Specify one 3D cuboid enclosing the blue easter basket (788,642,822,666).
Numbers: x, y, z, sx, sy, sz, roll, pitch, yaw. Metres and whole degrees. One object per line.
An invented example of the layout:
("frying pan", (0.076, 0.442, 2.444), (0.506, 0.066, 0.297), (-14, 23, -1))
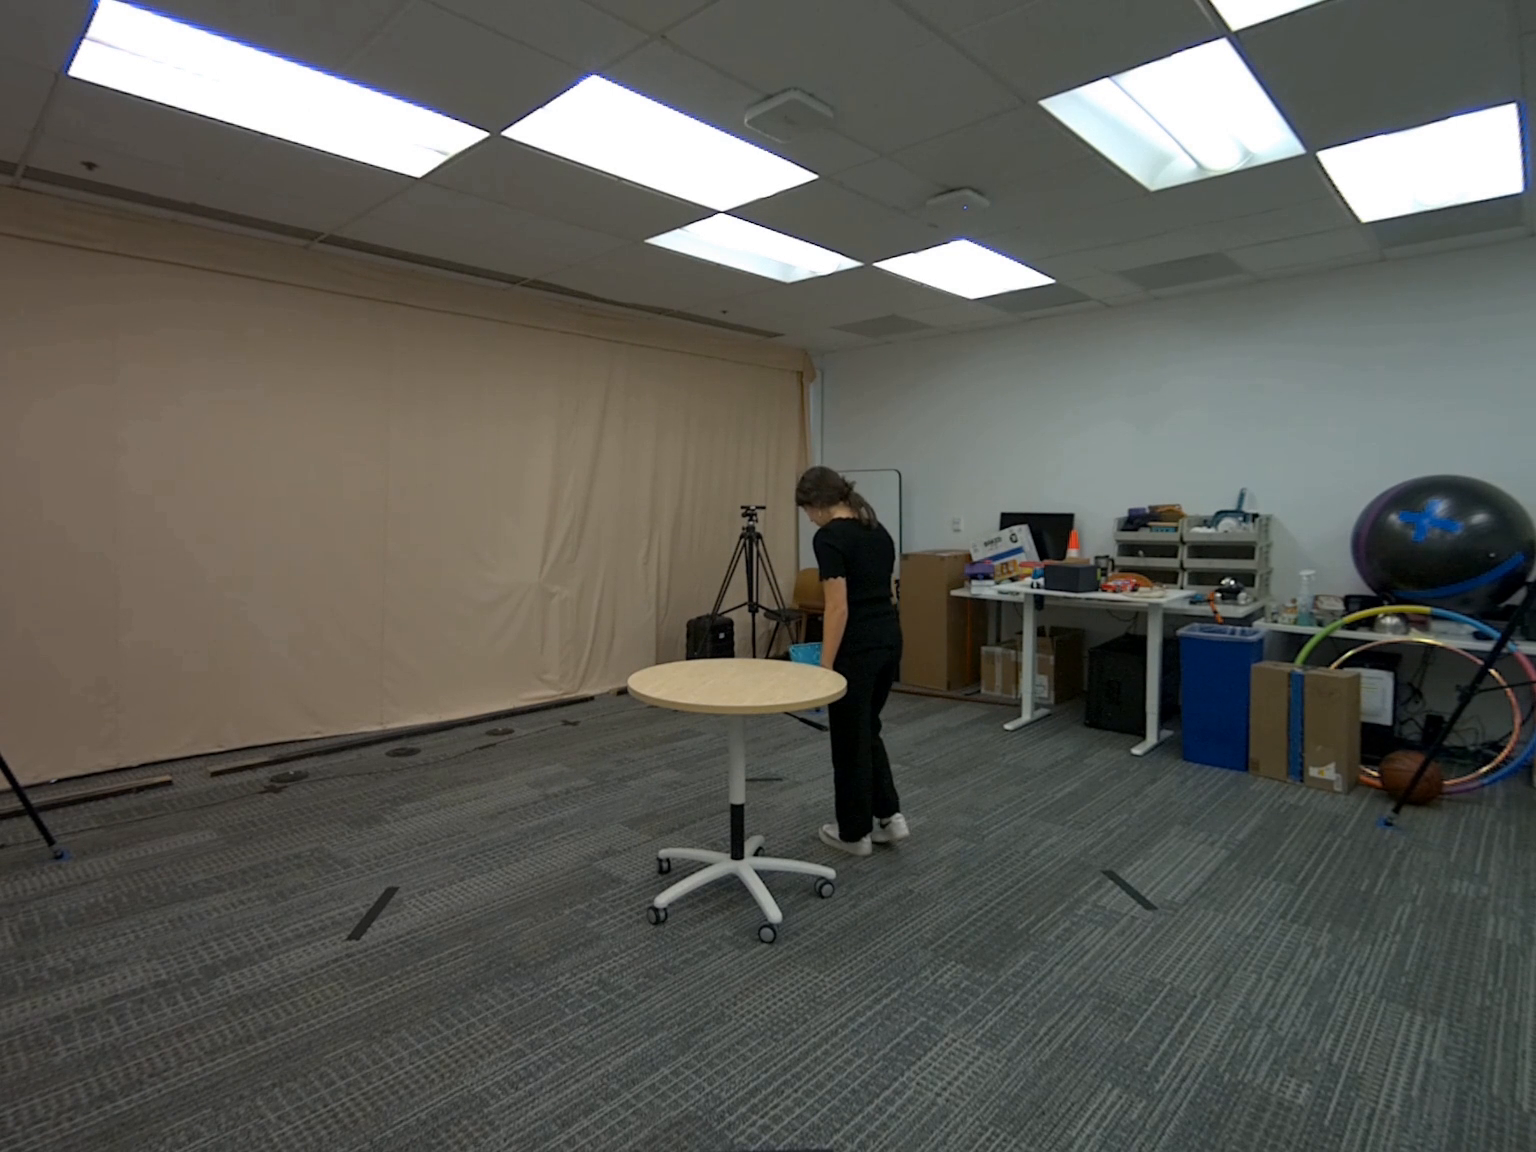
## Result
("blue easter basket", (0.206, 0.373, 3.658), (0.243, 0.157, 0.242), (-4, -8, -2))
